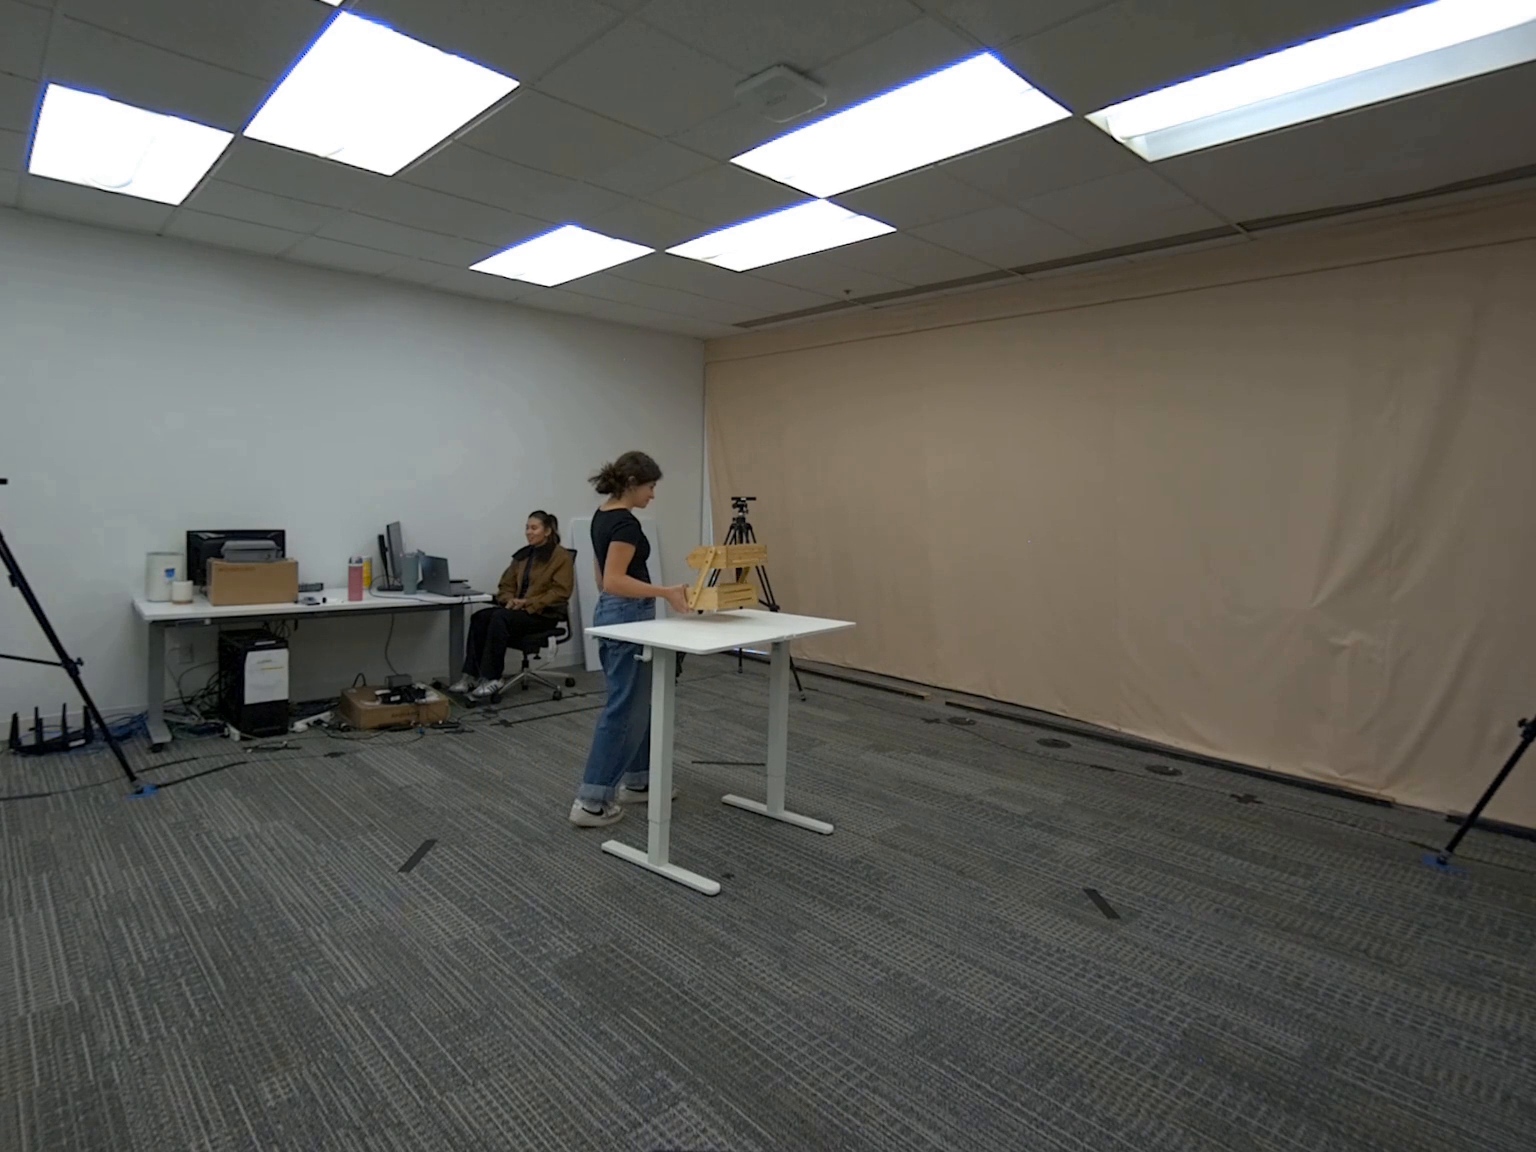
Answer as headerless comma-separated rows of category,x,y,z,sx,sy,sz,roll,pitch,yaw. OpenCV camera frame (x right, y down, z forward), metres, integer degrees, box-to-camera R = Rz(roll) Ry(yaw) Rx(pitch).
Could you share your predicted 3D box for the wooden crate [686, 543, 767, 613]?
wooden crate,-0.222,-0.002,3.588,0.308,0.273,0.317,-3,1,35
